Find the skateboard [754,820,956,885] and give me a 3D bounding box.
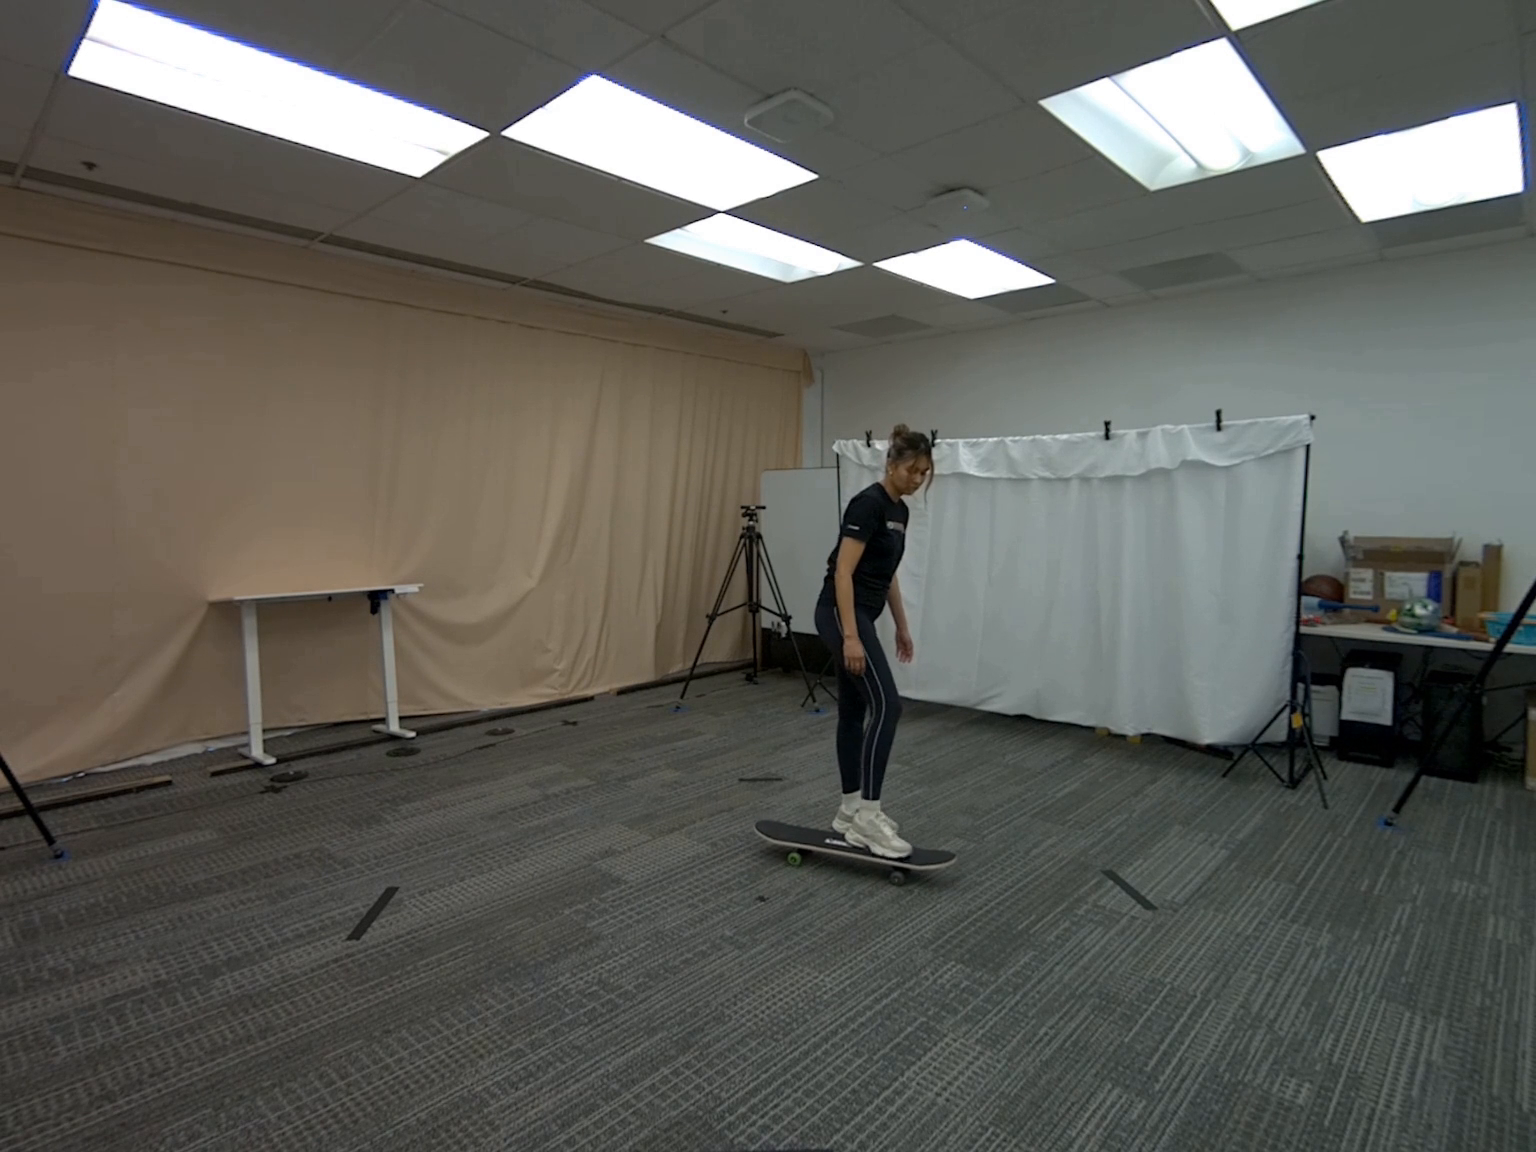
[{"bbox_3d":[0.312,1.064,3.246,0.804,0.110,0.189,2,3,22],"label":"skateboard"}]
